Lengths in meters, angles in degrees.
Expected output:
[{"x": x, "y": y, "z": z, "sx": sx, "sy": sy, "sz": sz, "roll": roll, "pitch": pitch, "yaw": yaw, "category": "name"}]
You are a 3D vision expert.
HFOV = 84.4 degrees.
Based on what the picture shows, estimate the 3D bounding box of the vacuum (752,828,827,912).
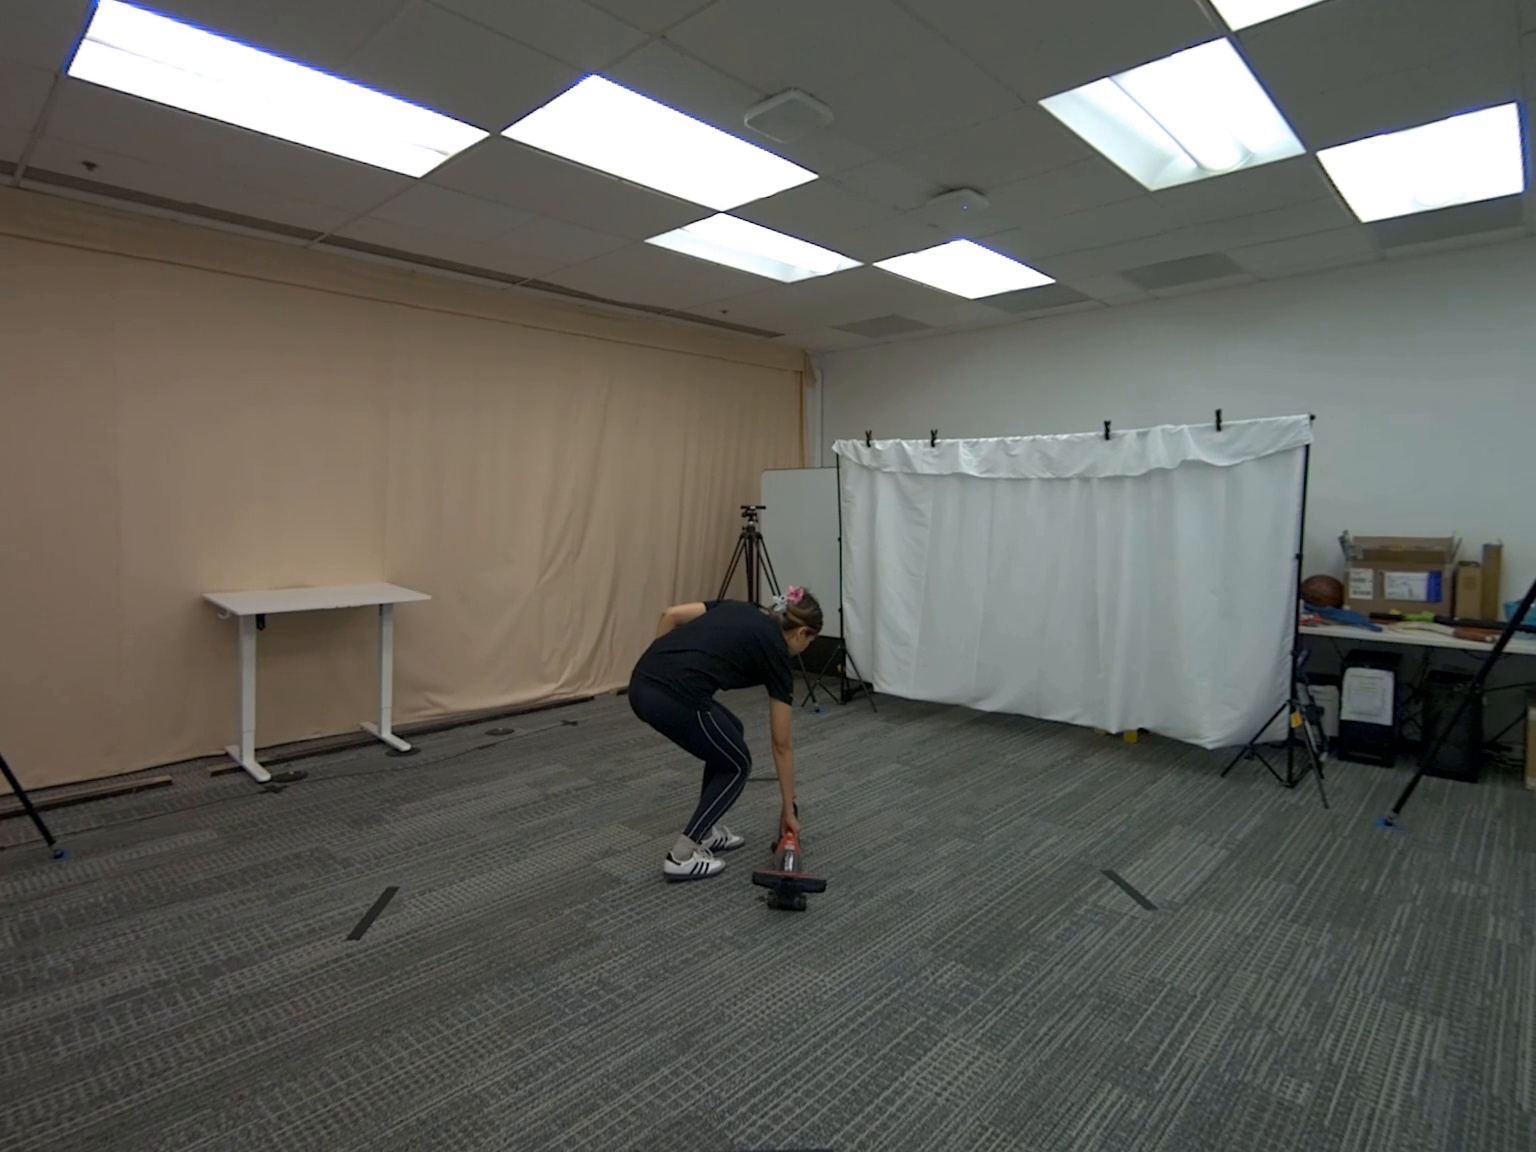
[{"x": 0.084, "y": 1.032, "z": 3.398, "sx": 0.253, "sy": 0.143, "sz": 1.049, "roll": 5, "pitch": 5, "yaw": 0, "category": "vacuum"}]
